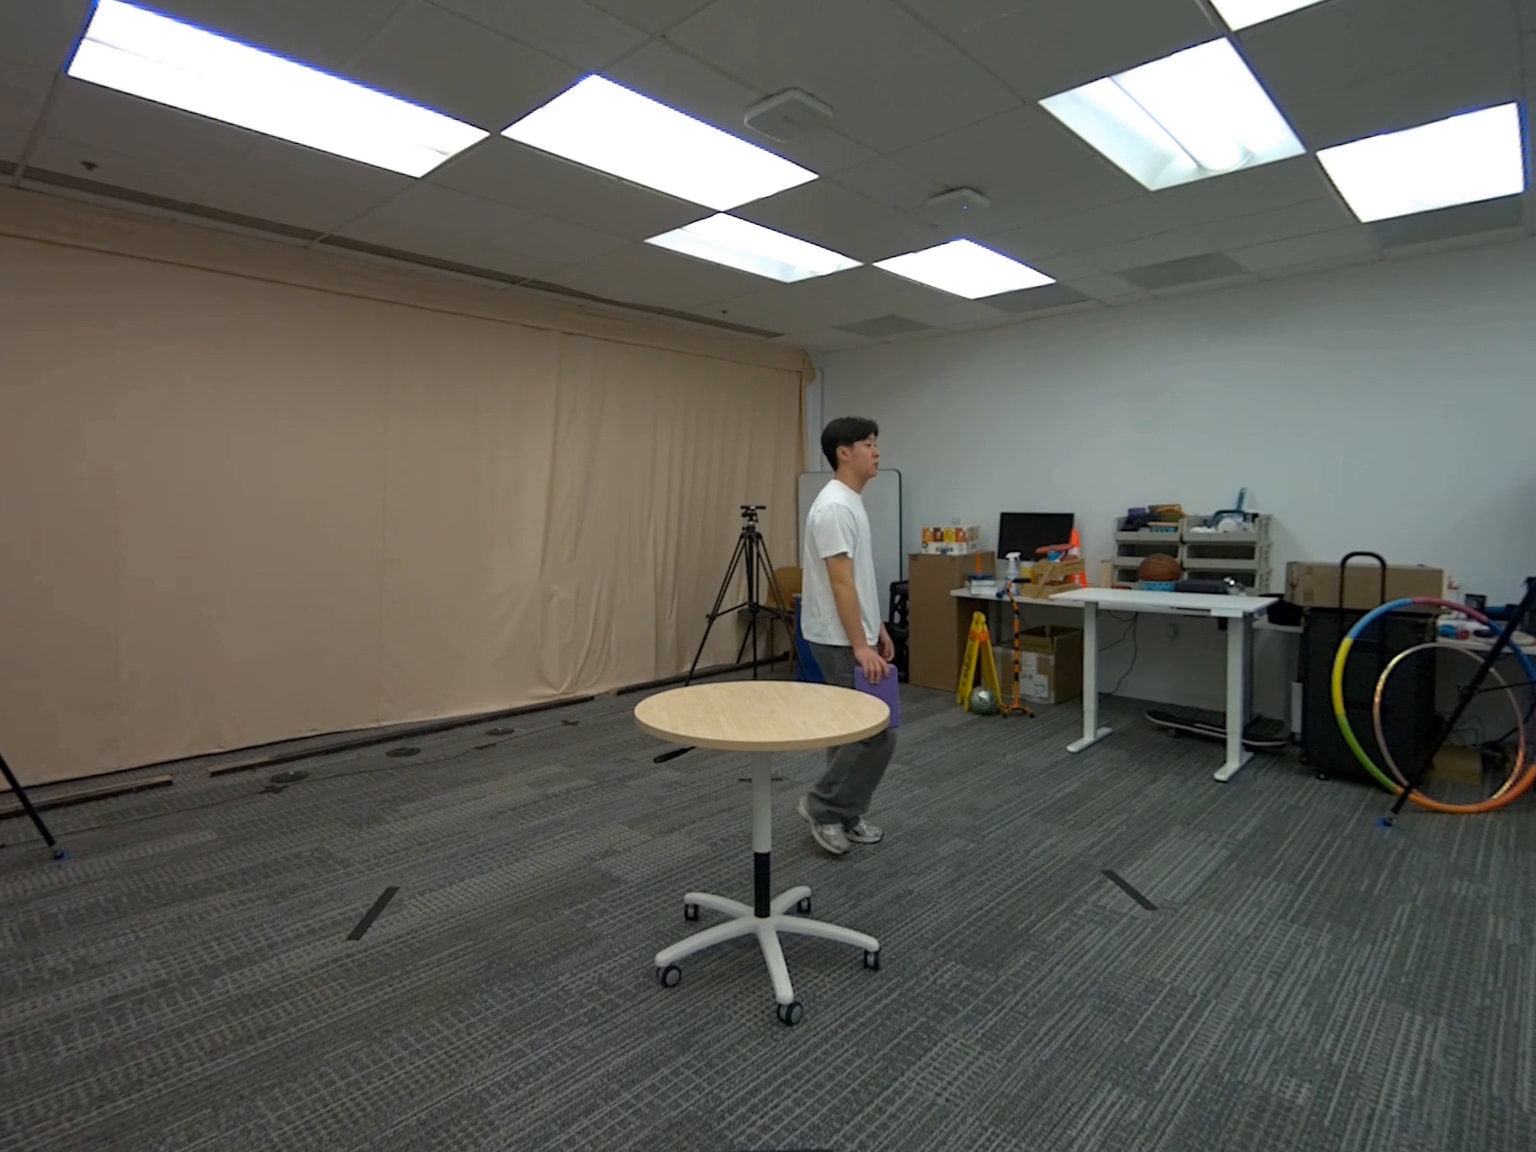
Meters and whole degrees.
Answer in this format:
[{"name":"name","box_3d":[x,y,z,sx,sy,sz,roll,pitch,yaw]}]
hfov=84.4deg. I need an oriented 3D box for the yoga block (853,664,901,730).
[{"name":"yoga block","box_3d":[0.404,0.451,3.143,0.149,0.230,0.076,-3,-2,-1]}]
